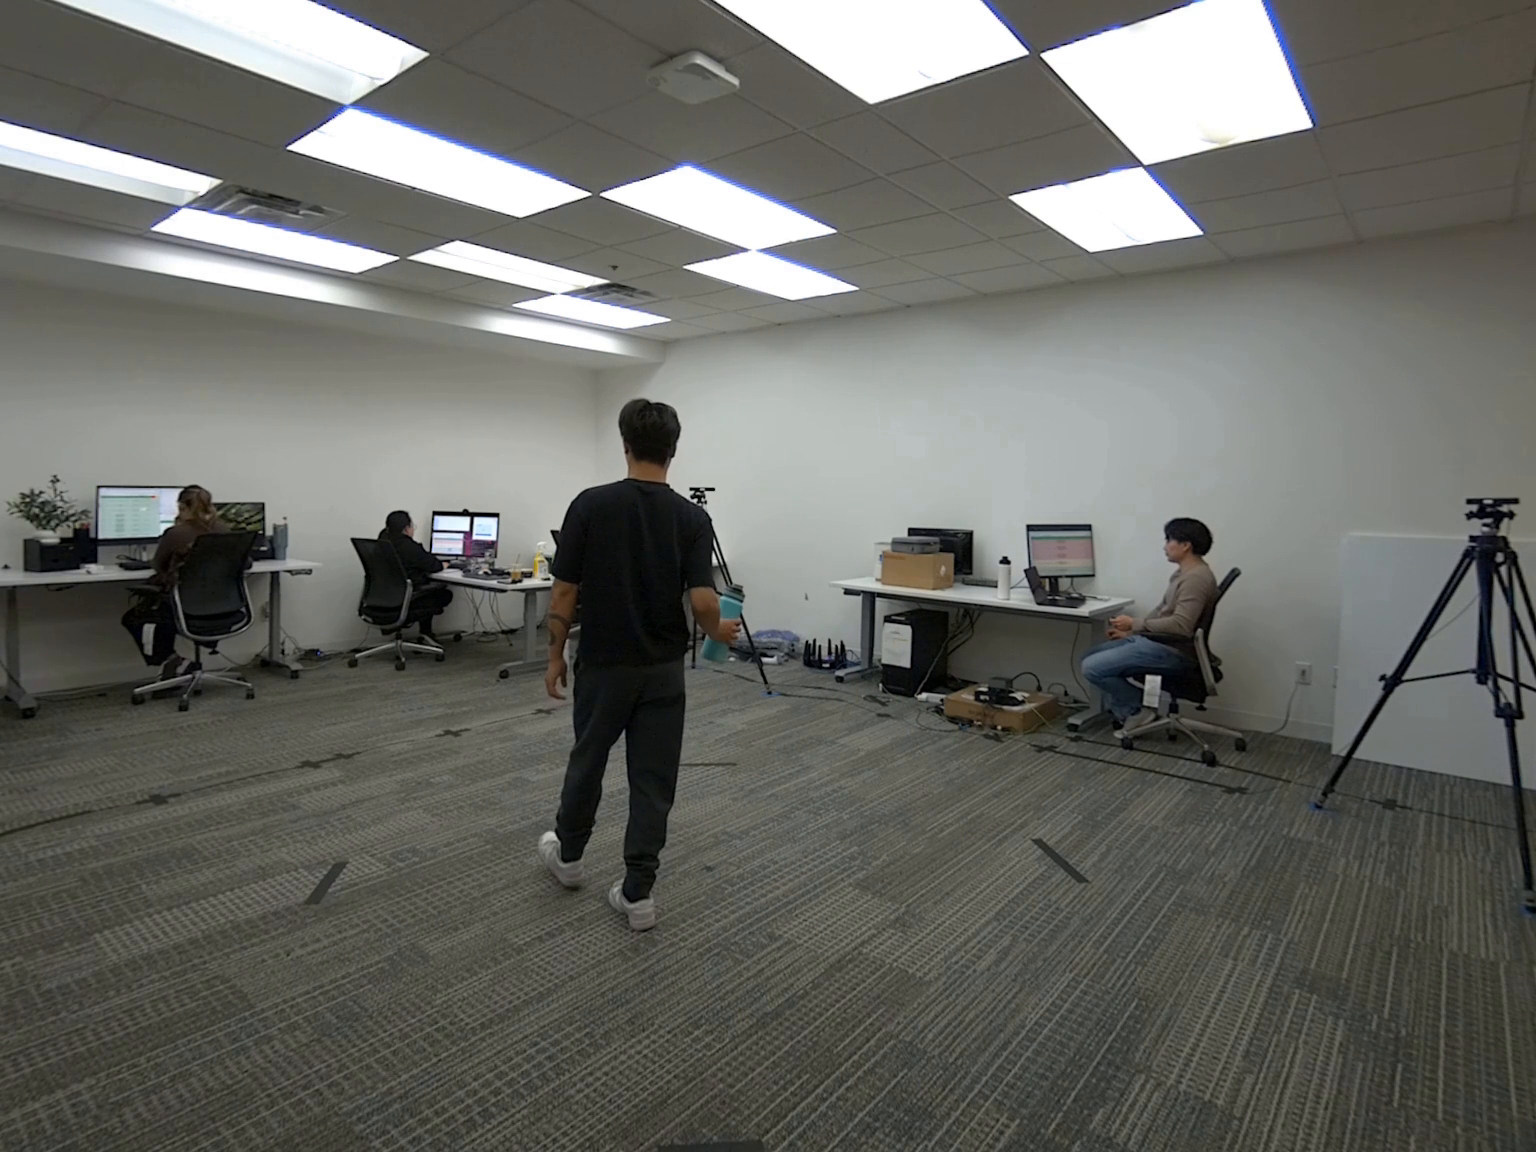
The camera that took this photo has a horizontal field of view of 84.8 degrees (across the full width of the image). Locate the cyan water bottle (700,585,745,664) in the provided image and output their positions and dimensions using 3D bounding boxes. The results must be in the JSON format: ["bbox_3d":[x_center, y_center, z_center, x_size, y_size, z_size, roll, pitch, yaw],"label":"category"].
[{"bbox_3d":[-0.171,0.156,2.992,0.092,0.284,0.092,20,-7,0],"label":"cyan water bottle"}]
